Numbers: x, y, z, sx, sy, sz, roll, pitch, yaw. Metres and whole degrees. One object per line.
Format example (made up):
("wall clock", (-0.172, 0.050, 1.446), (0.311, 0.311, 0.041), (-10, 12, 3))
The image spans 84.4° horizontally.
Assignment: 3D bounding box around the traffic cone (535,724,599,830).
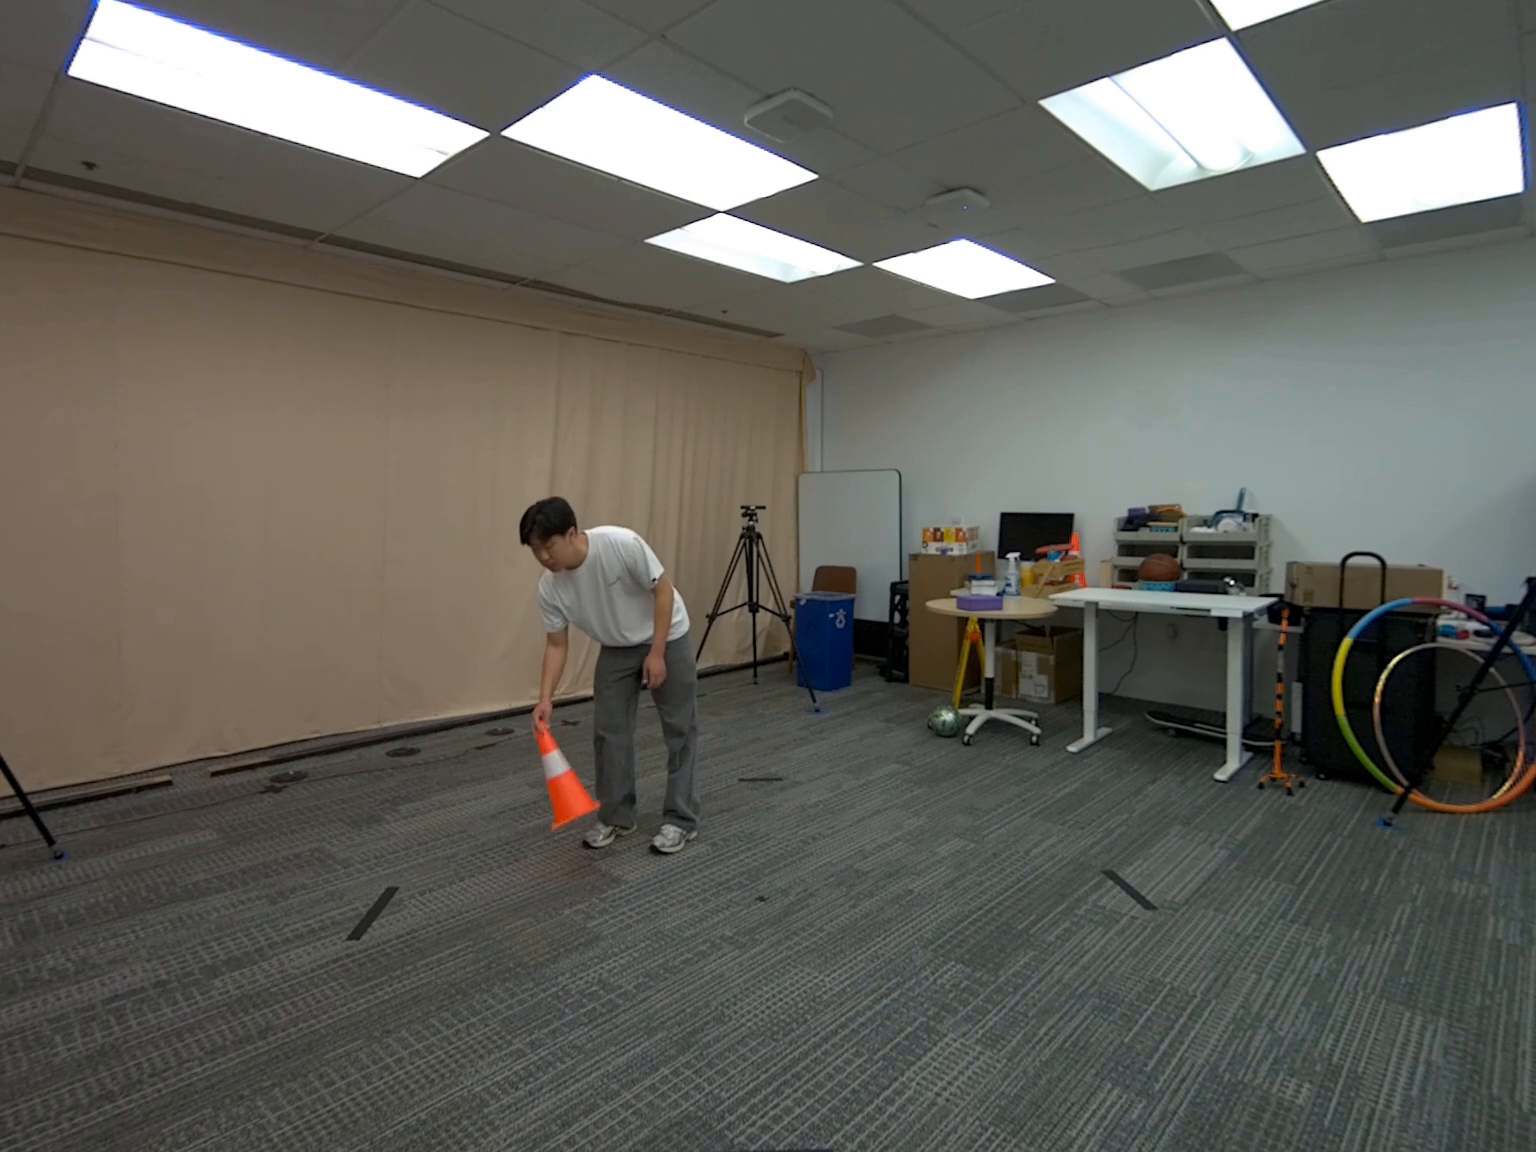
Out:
("traffic cone", (-0.818, 0.722, 3.267), (0.204, 0.387, 0.203), (-23, -8, -9))
